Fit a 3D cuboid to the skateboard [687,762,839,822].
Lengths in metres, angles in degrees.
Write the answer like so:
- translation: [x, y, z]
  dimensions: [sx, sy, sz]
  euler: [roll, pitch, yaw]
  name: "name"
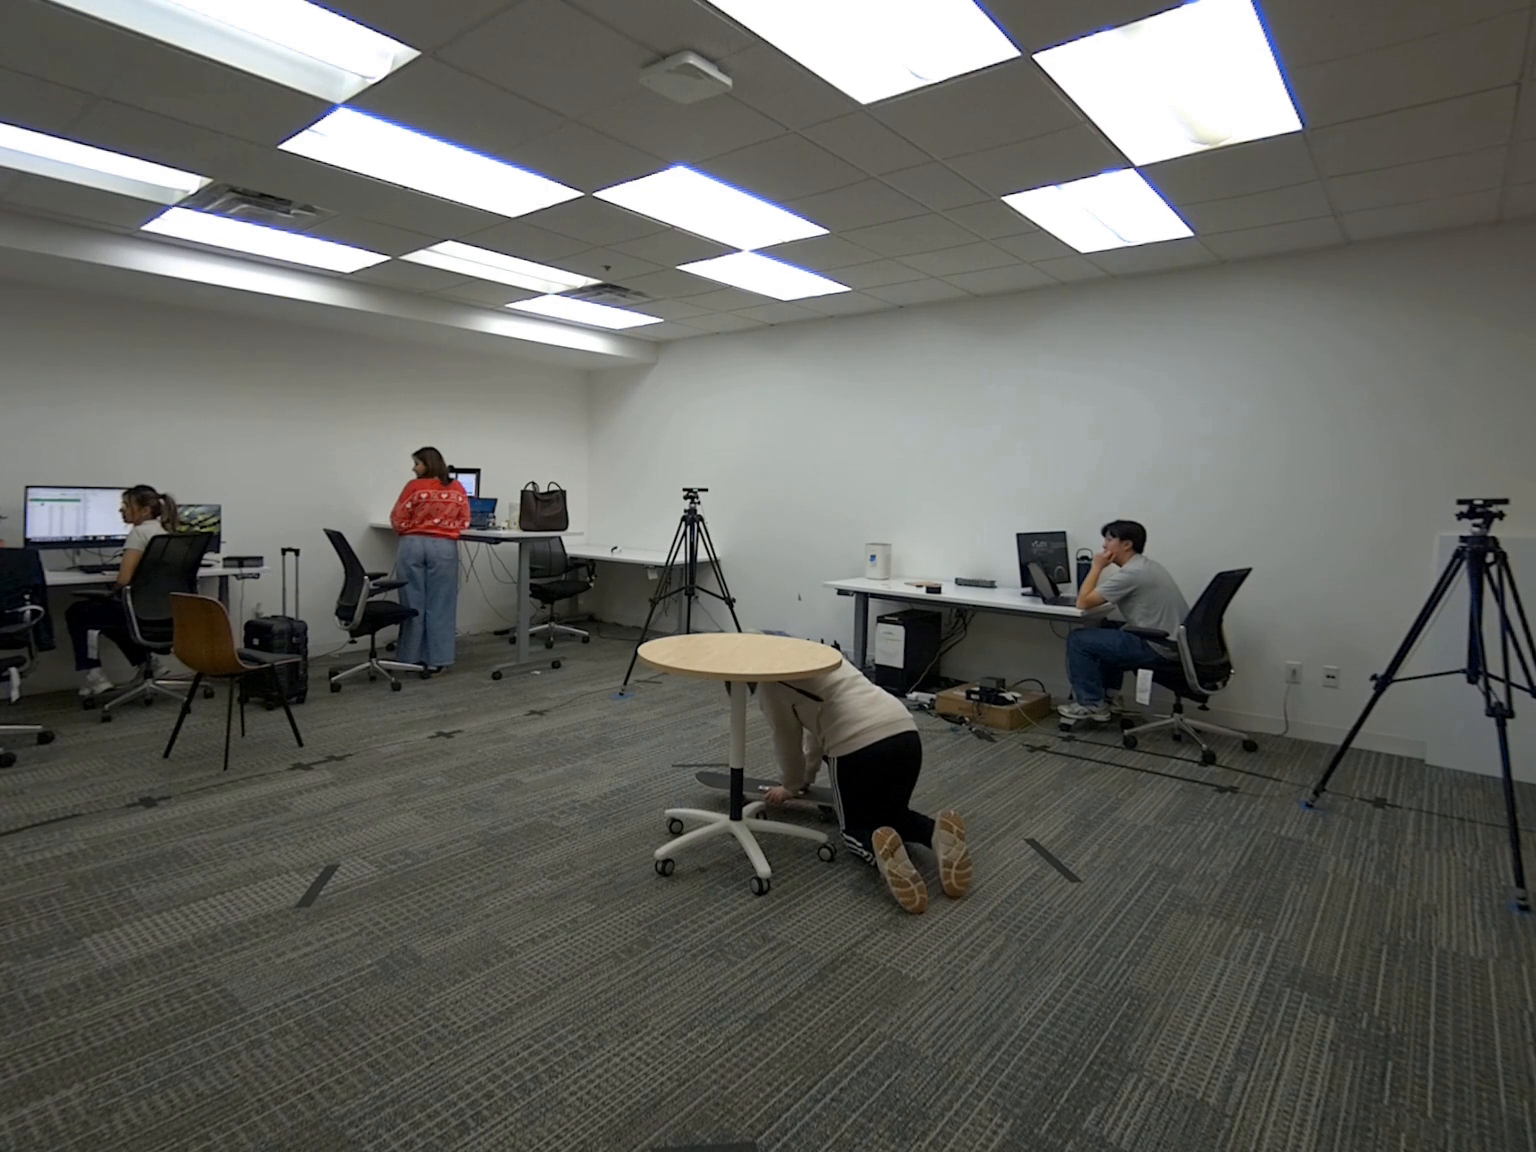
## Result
- translation: [0.045, 0.951, 3.709]
  dimensions: [0.800, 0.110, 0.191]
  euler: [3, 6, 17]
  name: "skateboard"
